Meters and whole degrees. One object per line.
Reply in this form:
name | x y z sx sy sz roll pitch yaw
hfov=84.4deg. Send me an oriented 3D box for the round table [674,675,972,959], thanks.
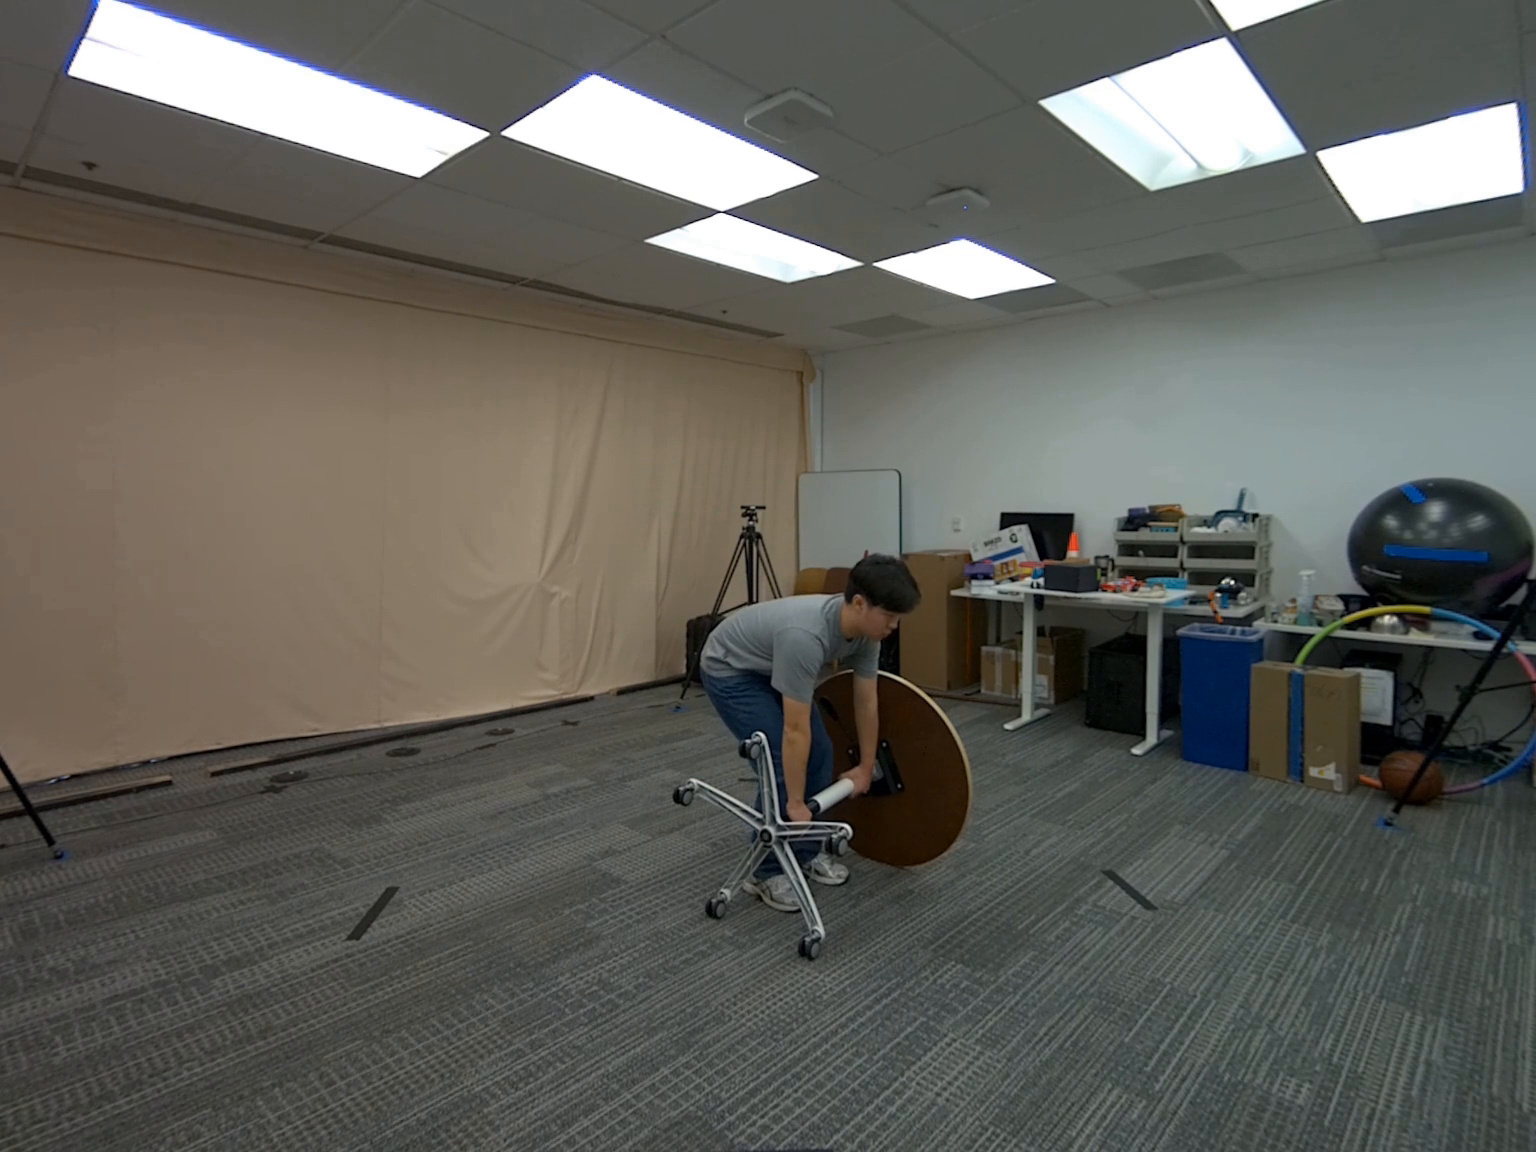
round table | 0.197 0.801 2.960 0.789 0.760 0.772 3 10 39
